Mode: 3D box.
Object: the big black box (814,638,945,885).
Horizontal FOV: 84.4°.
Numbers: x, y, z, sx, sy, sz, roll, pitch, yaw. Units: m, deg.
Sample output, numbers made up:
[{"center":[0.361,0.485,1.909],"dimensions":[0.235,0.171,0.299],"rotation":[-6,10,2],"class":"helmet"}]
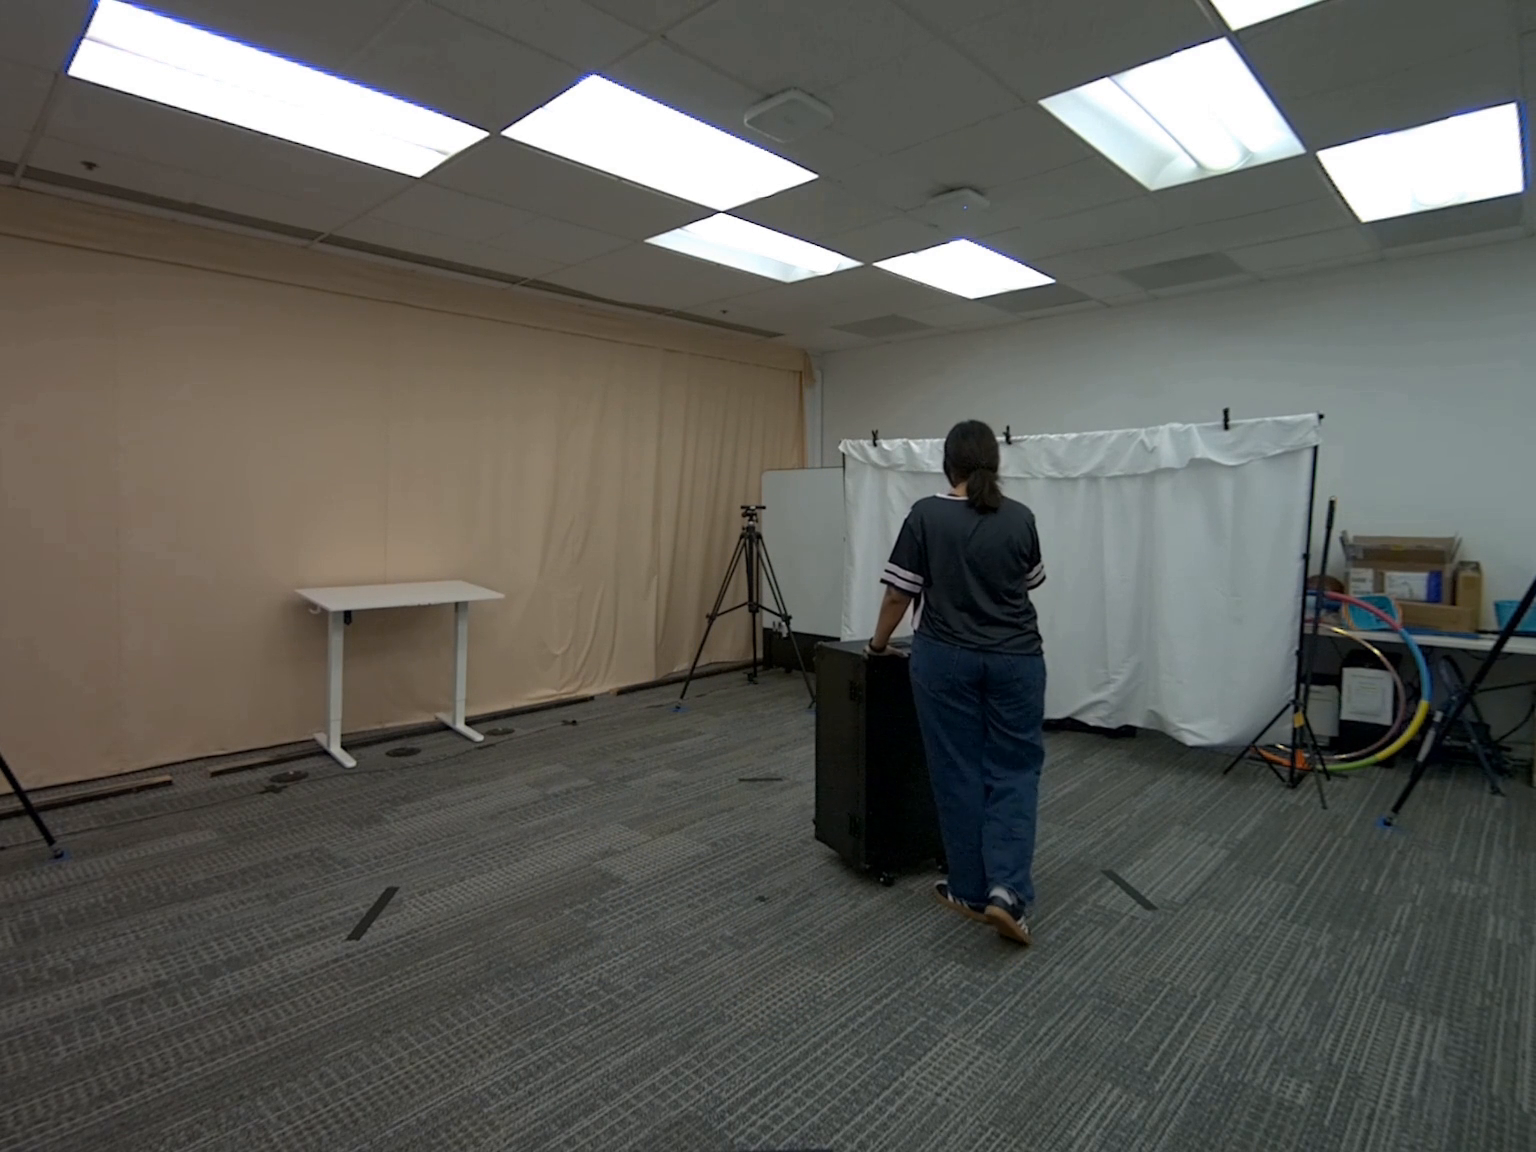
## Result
[{"center":[0.476,0.695,3.269],"dimensions":[0.510,0.867,0.395],"rotation":[-1,2,-26],"class":"big black box"}]
